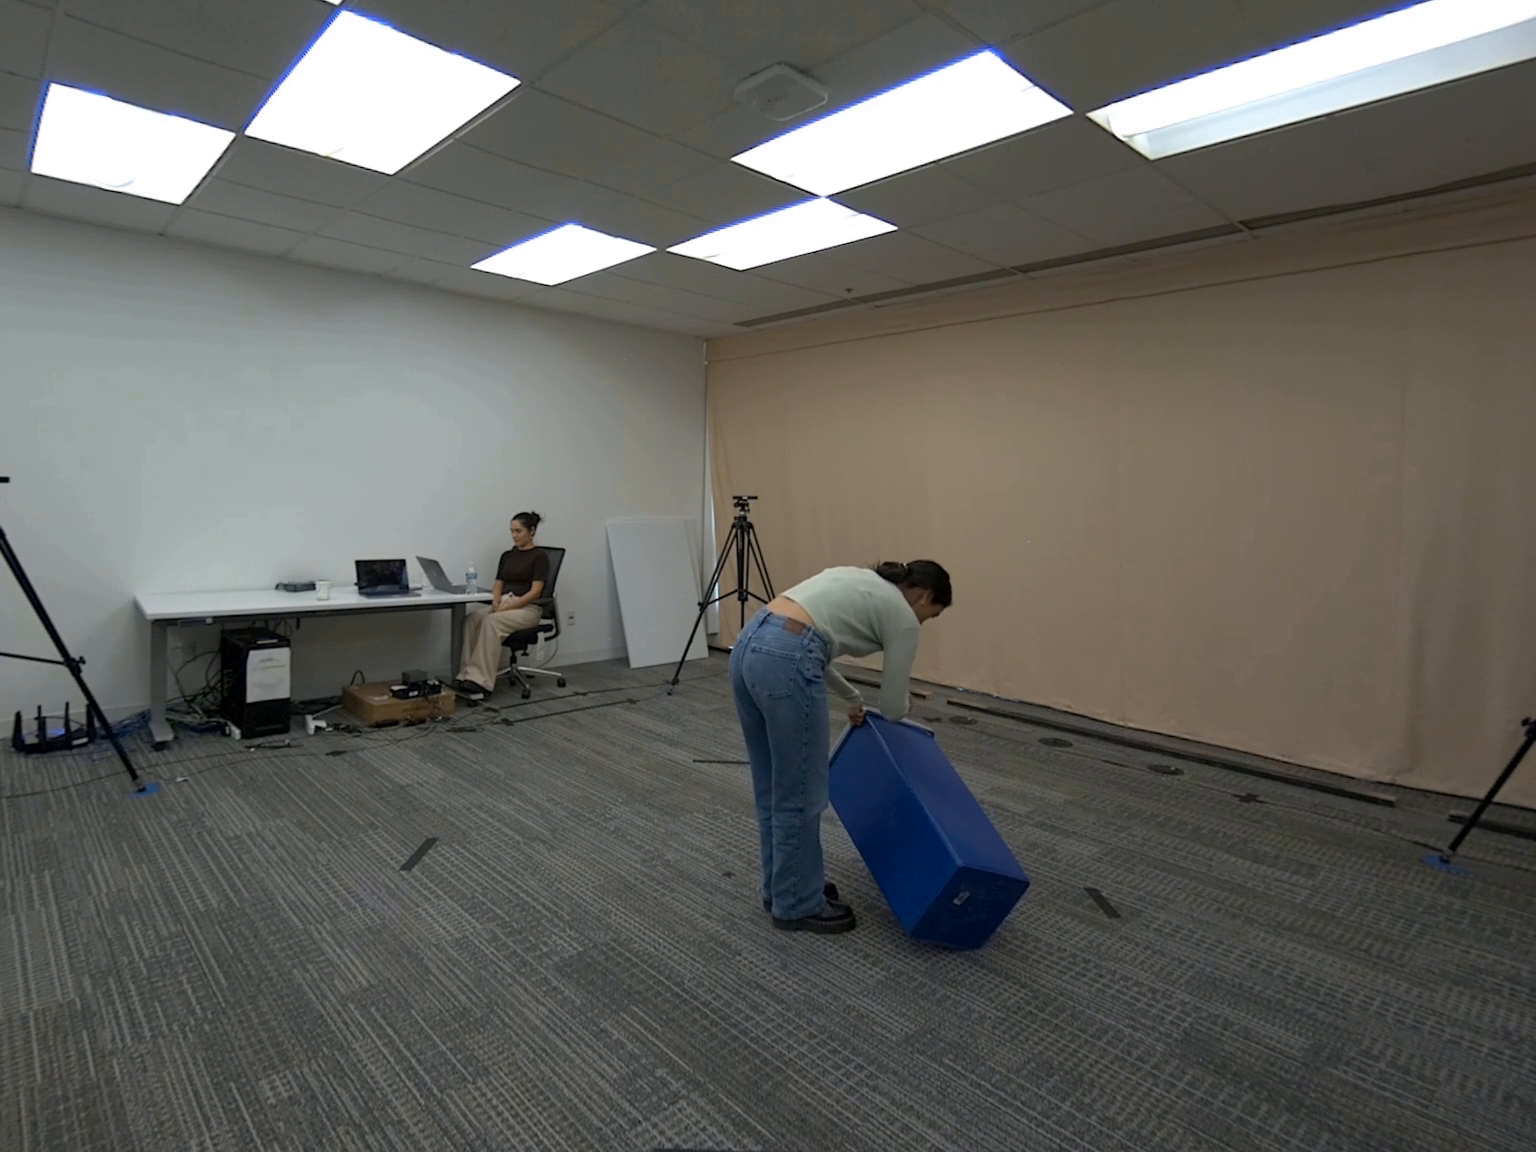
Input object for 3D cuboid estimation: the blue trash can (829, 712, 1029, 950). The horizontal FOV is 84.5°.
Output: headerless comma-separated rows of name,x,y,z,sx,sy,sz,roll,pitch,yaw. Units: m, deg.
blue trash can,0.493,0.828,2.832,0.365,0.376,0.733,21,18,-26
